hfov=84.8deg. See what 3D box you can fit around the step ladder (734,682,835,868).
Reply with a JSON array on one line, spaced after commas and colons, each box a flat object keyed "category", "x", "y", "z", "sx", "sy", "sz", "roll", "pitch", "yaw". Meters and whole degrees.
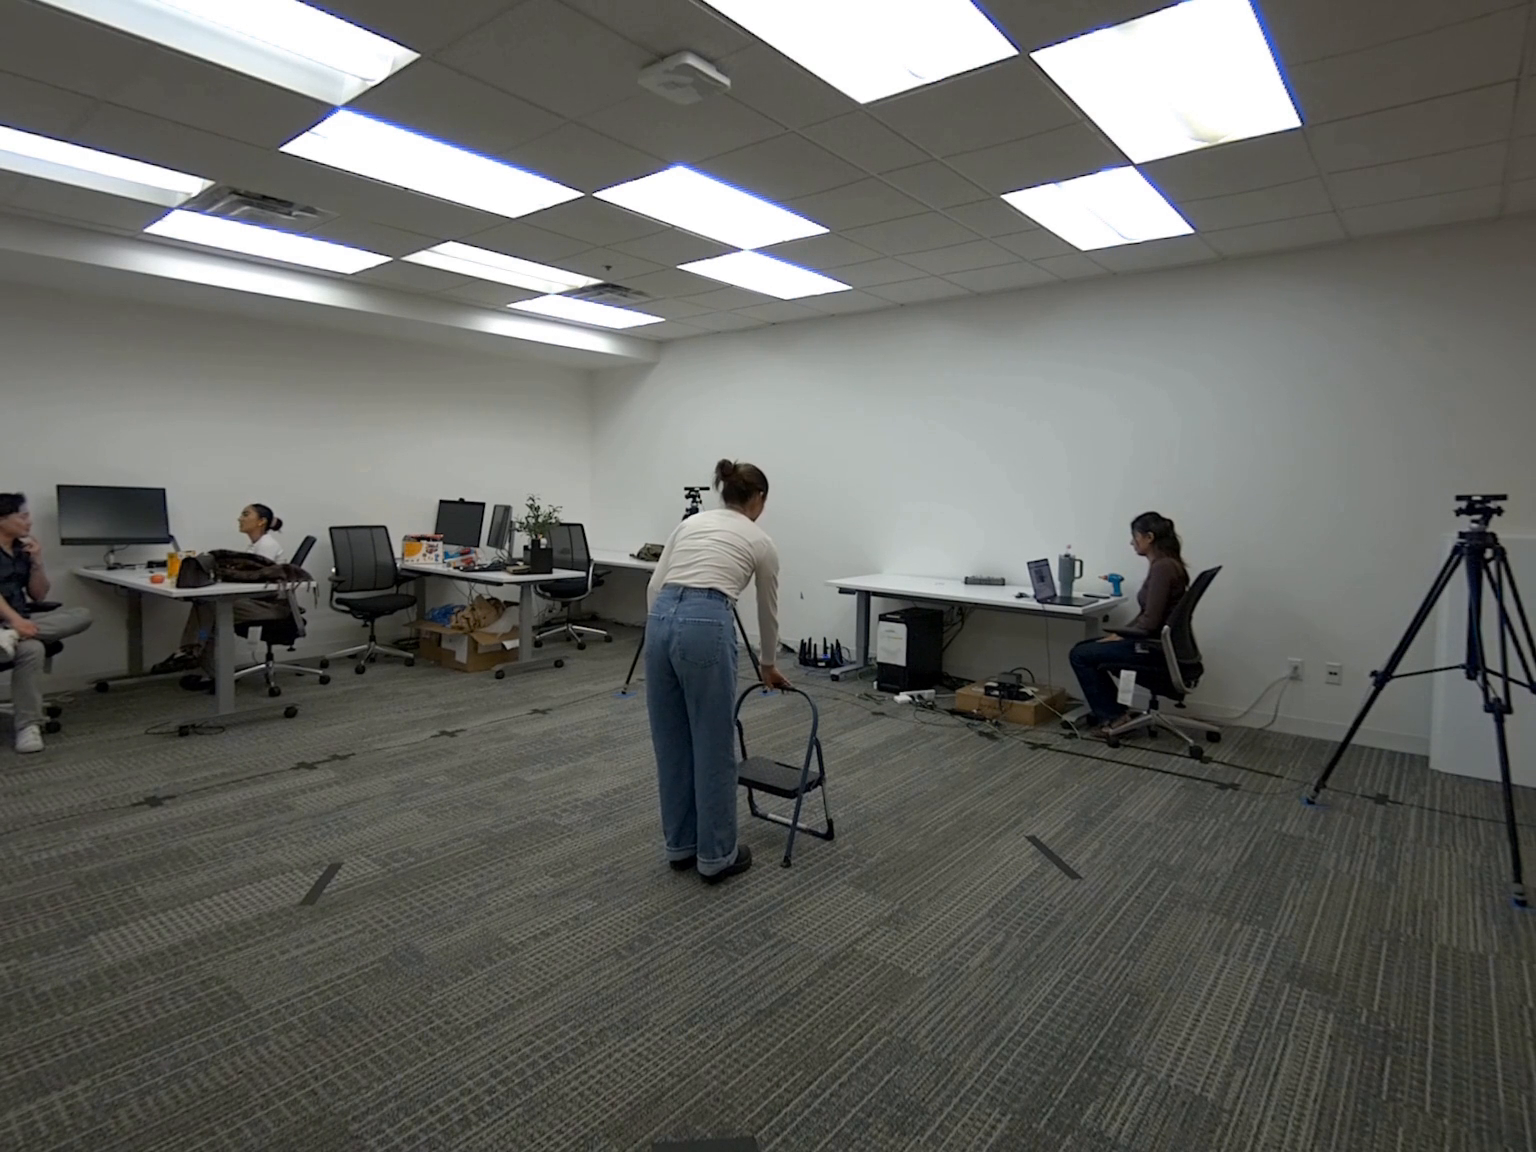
[{"category": "step ladder", "x": 0.000, "y": 0.739, "z": 3.374, "sx": 0.445, "sy": 0.604, "sz": 0.339, "roll": 3, "pitch": 5, "yaw": 38}]
